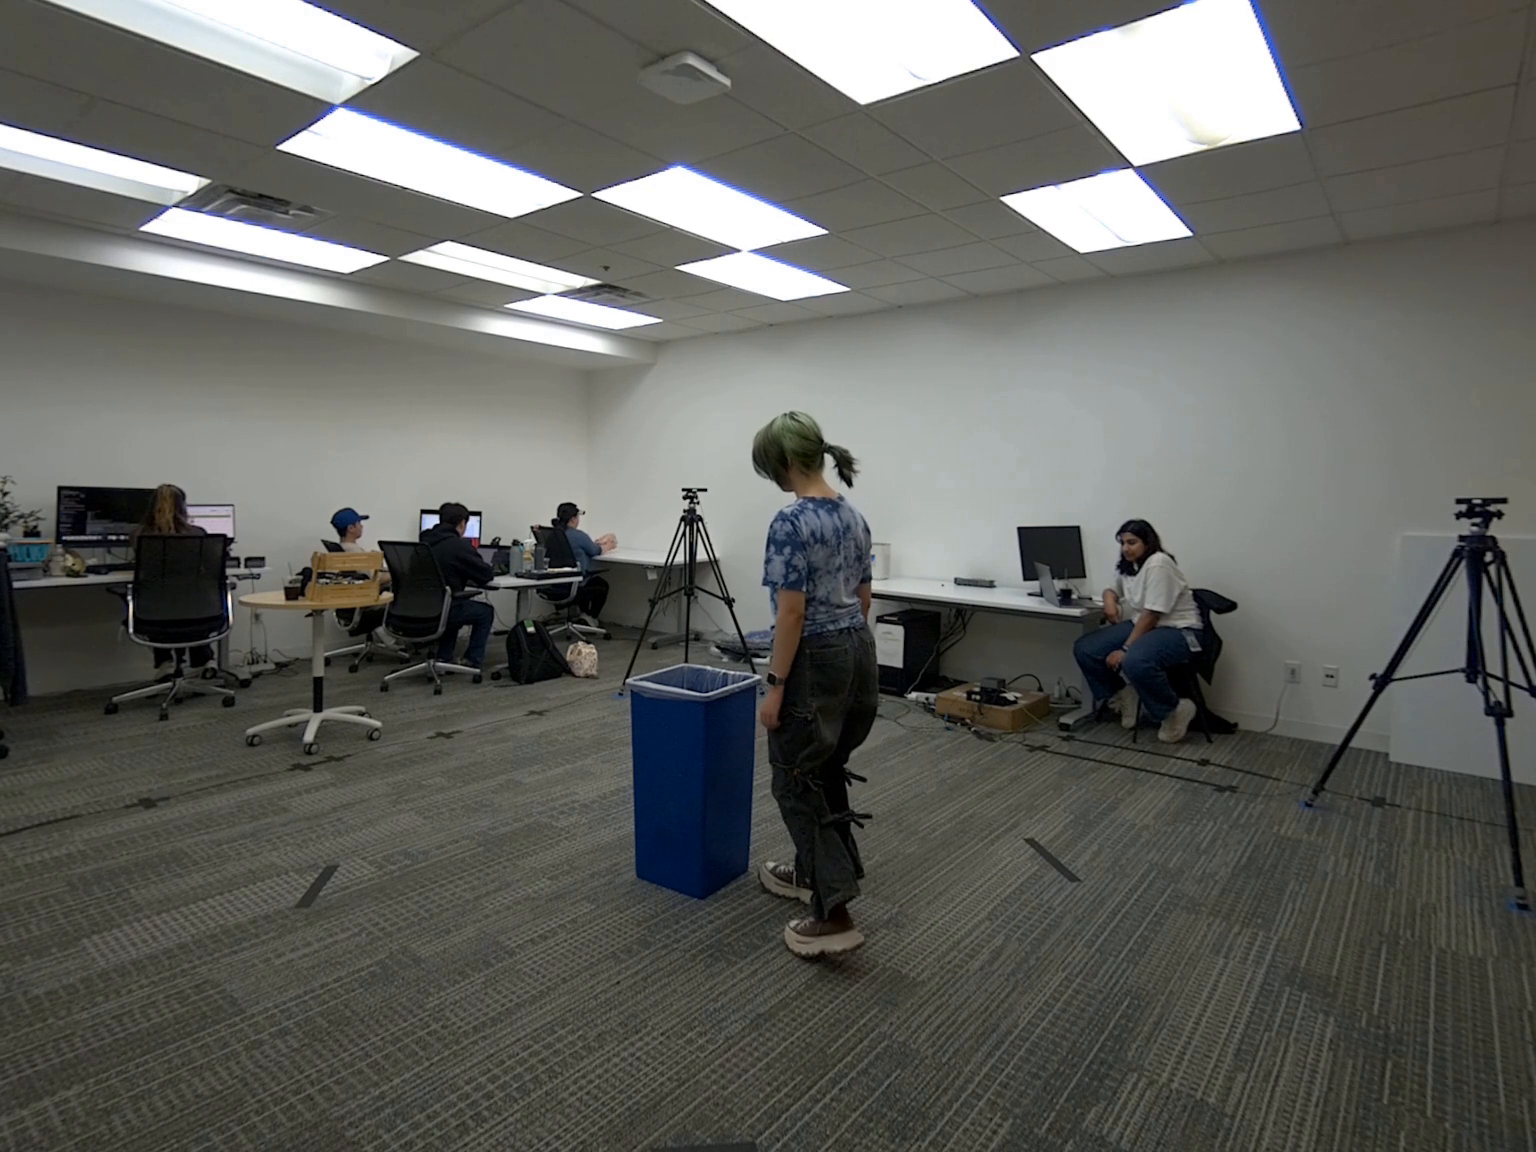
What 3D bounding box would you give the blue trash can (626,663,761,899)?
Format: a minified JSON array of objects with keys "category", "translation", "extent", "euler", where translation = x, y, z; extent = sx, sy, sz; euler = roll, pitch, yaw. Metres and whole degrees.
[{"category":"blue trash can","translation":[-0.278,0.715,3.054],"extent":[0.390,0.712,0.363],"euler":[3,3,33]}]
